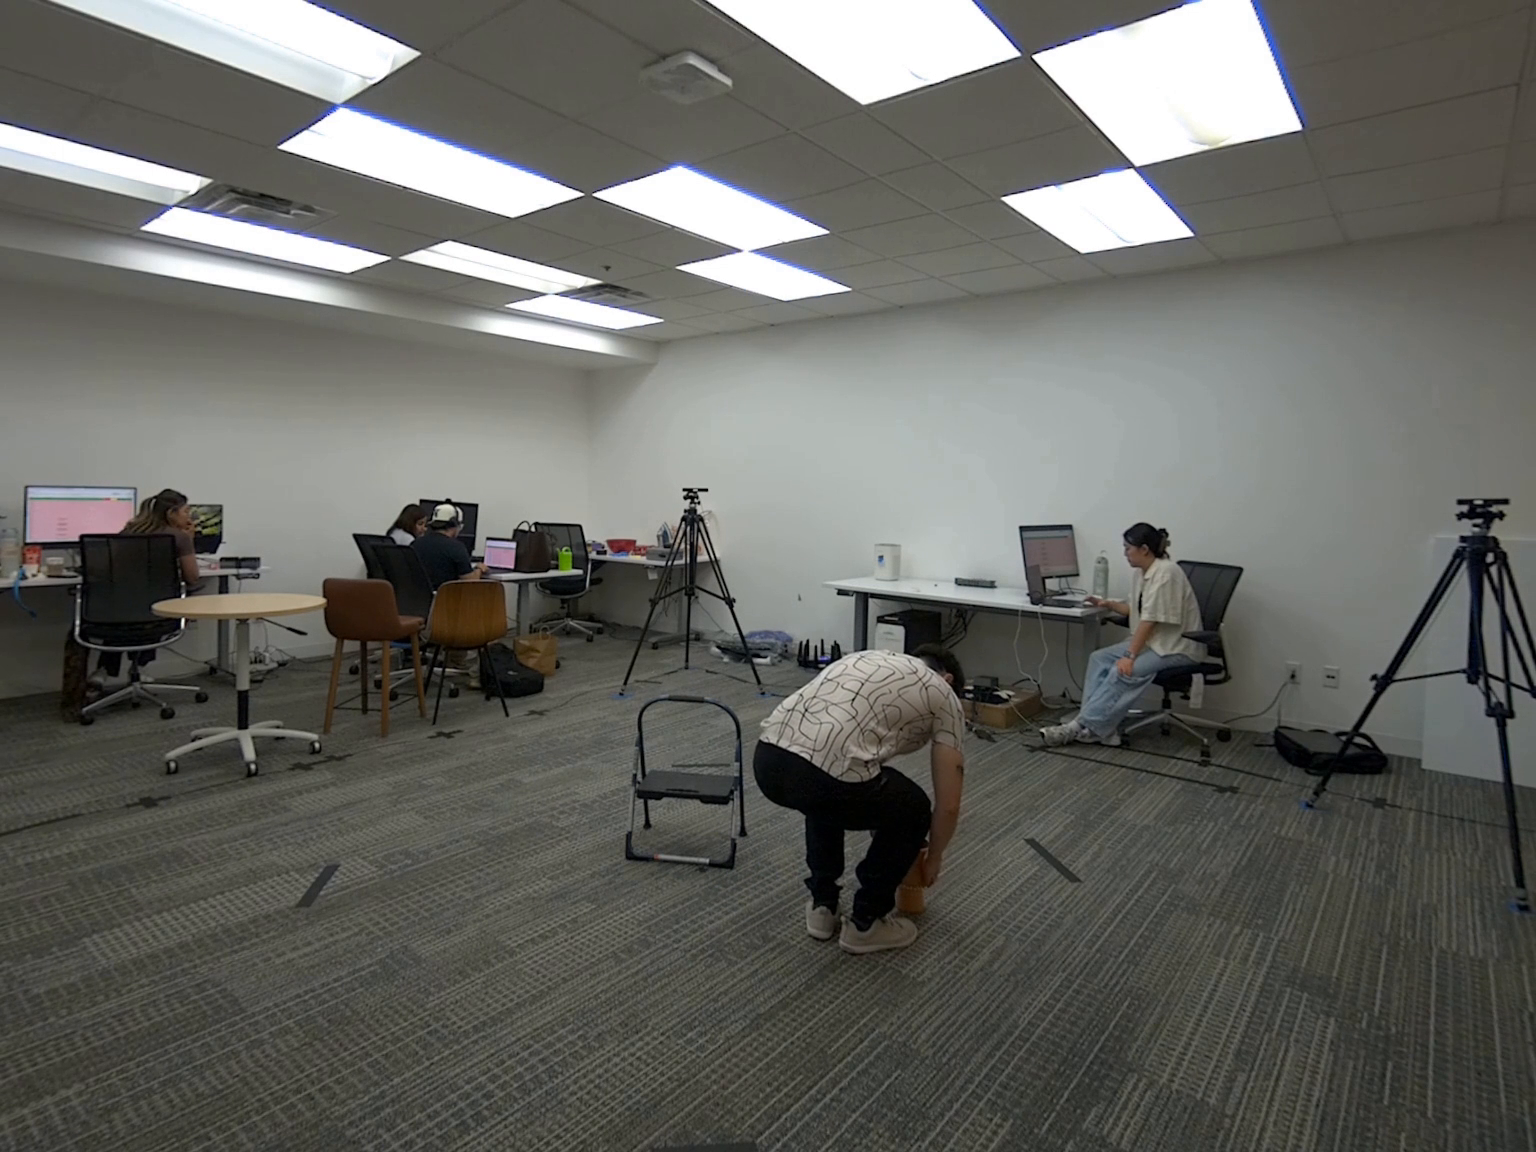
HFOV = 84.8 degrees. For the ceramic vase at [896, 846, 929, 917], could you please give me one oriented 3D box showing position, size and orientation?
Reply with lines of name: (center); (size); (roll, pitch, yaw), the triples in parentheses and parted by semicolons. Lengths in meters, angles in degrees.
ceramic vase: (0.475, 0.999, 2.859); (0.154, 0.219, 0.139); (-1, 4, -35)
